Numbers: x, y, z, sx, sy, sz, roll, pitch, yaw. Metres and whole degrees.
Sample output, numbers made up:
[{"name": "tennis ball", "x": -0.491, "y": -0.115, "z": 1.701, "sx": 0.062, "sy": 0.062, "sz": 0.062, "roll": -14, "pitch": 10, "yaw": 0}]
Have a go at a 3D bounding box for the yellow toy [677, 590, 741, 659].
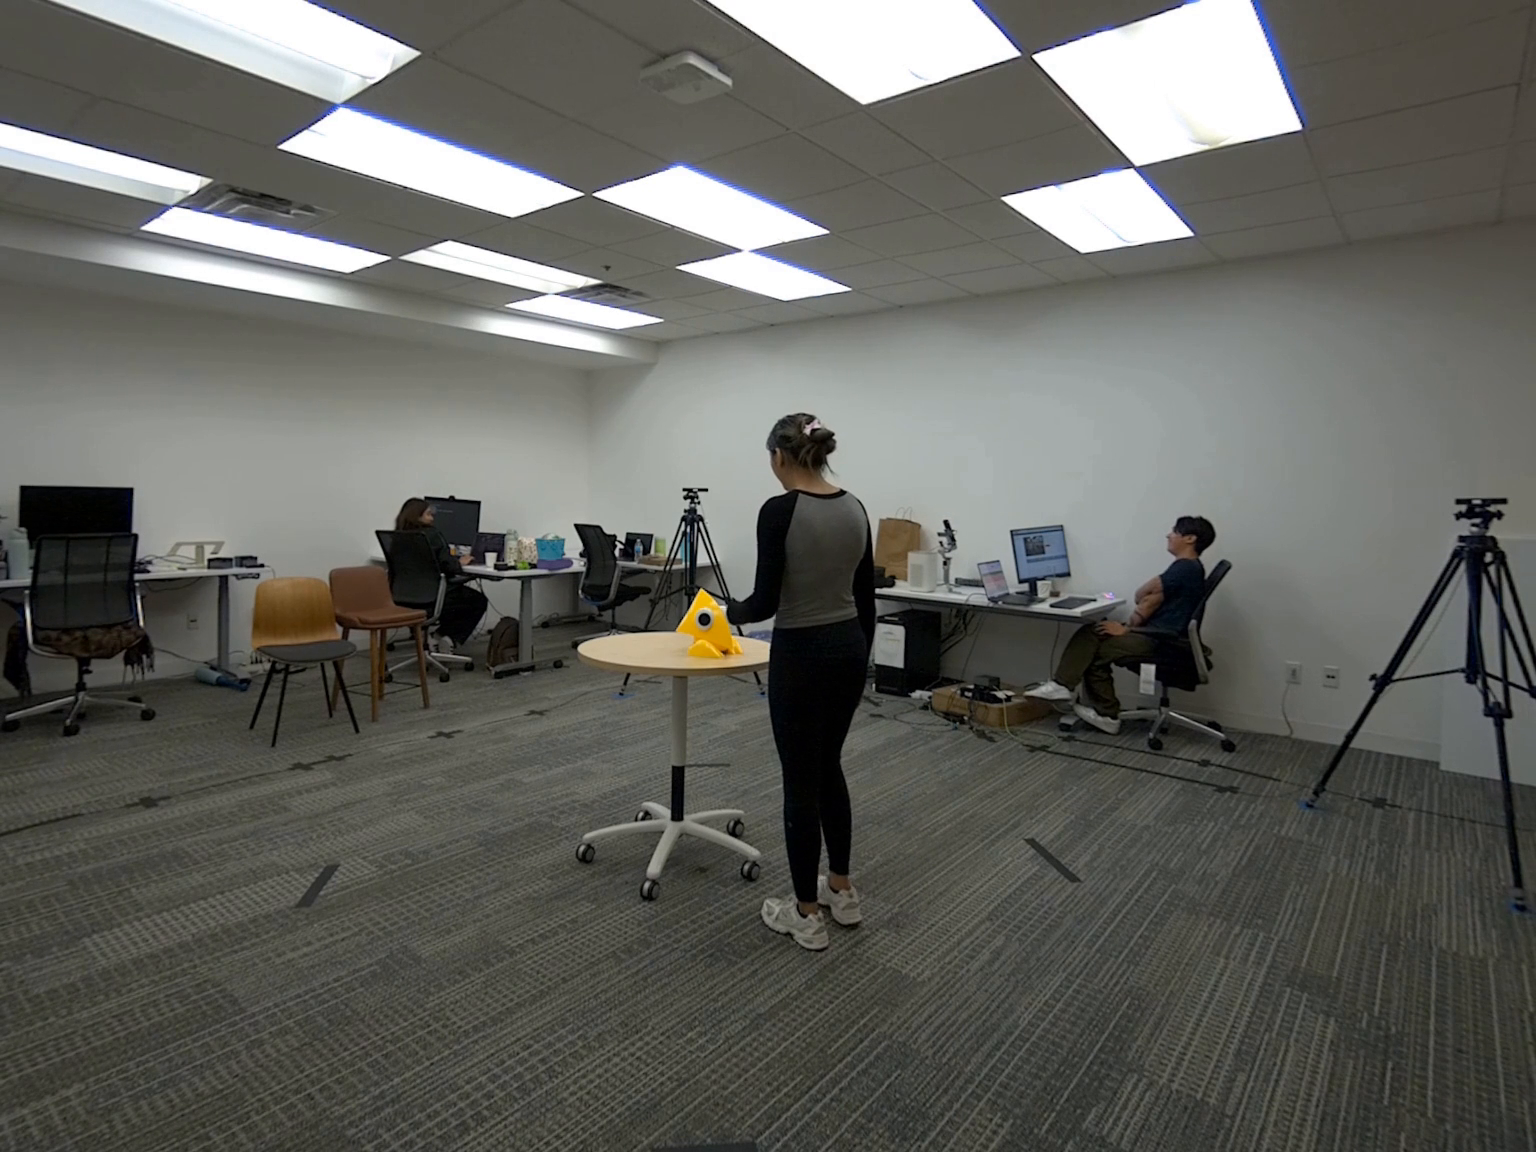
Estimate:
[{"name": "yellow toy", "x": -0.211, "y": 0.163, "z": 3.106, "sx": 0.199, "sy": 0.230, "sz": 0.199, "roll": 4, "pitch": 4, "yaw": 37}]
